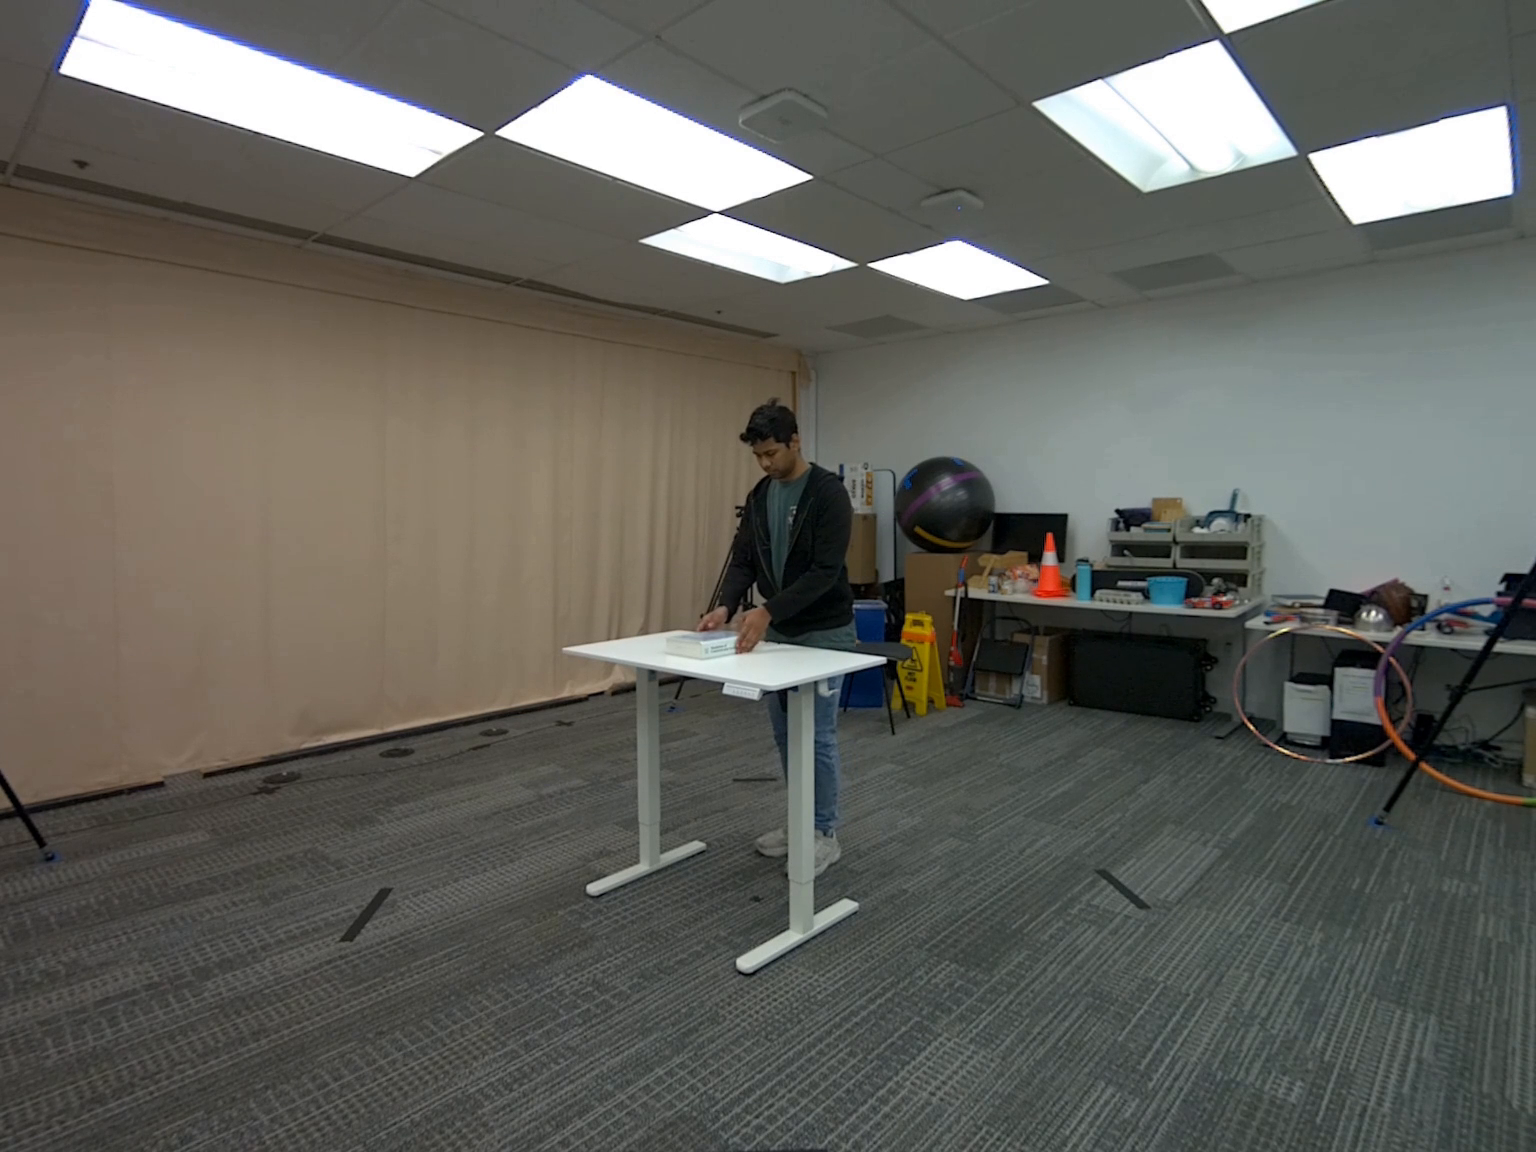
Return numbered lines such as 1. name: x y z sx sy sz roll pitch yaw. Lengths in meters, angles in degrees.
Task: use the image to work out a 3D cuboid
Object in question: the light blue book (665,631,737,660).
1. light blue book: -0.205 0.241 2.944 0.198 0.059 0.253 4 6 43
